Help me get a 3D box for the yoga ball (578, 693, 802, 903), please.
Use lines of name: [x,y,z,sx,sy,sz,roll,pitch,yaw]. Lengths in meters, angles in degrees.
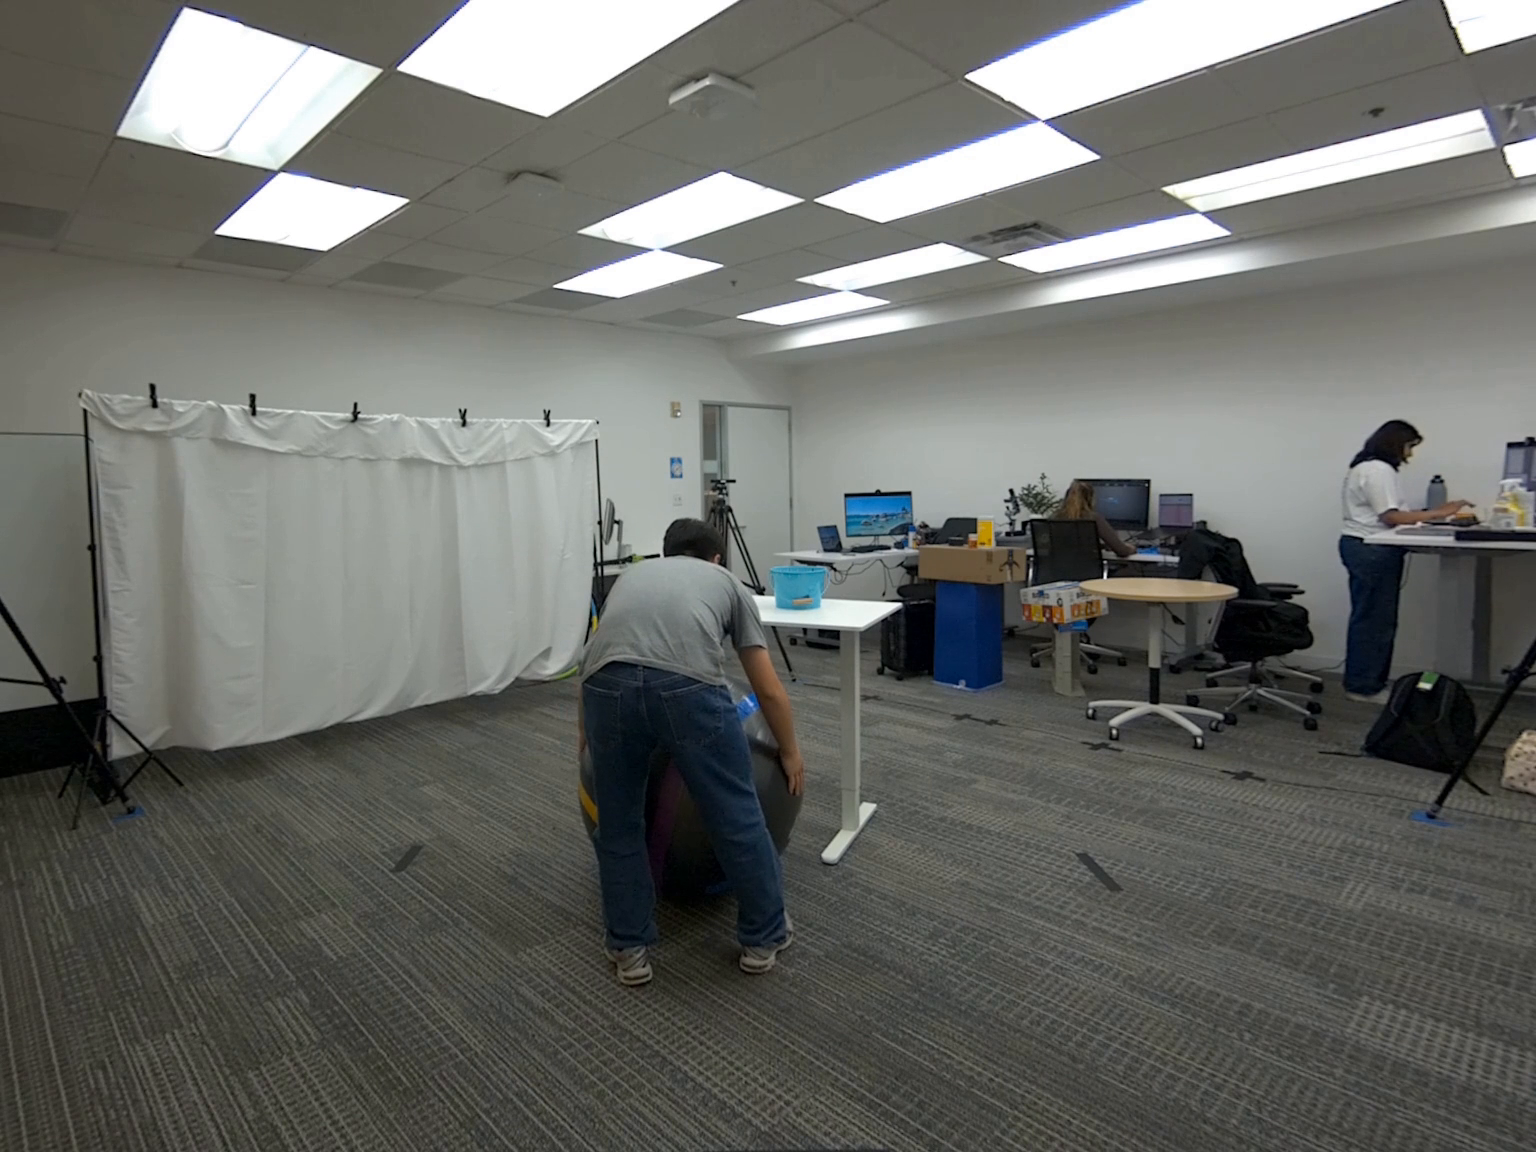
yoga ball: [-0.267,0.698,2.906,0.757,0.755,0.762,-1,5,-2]
